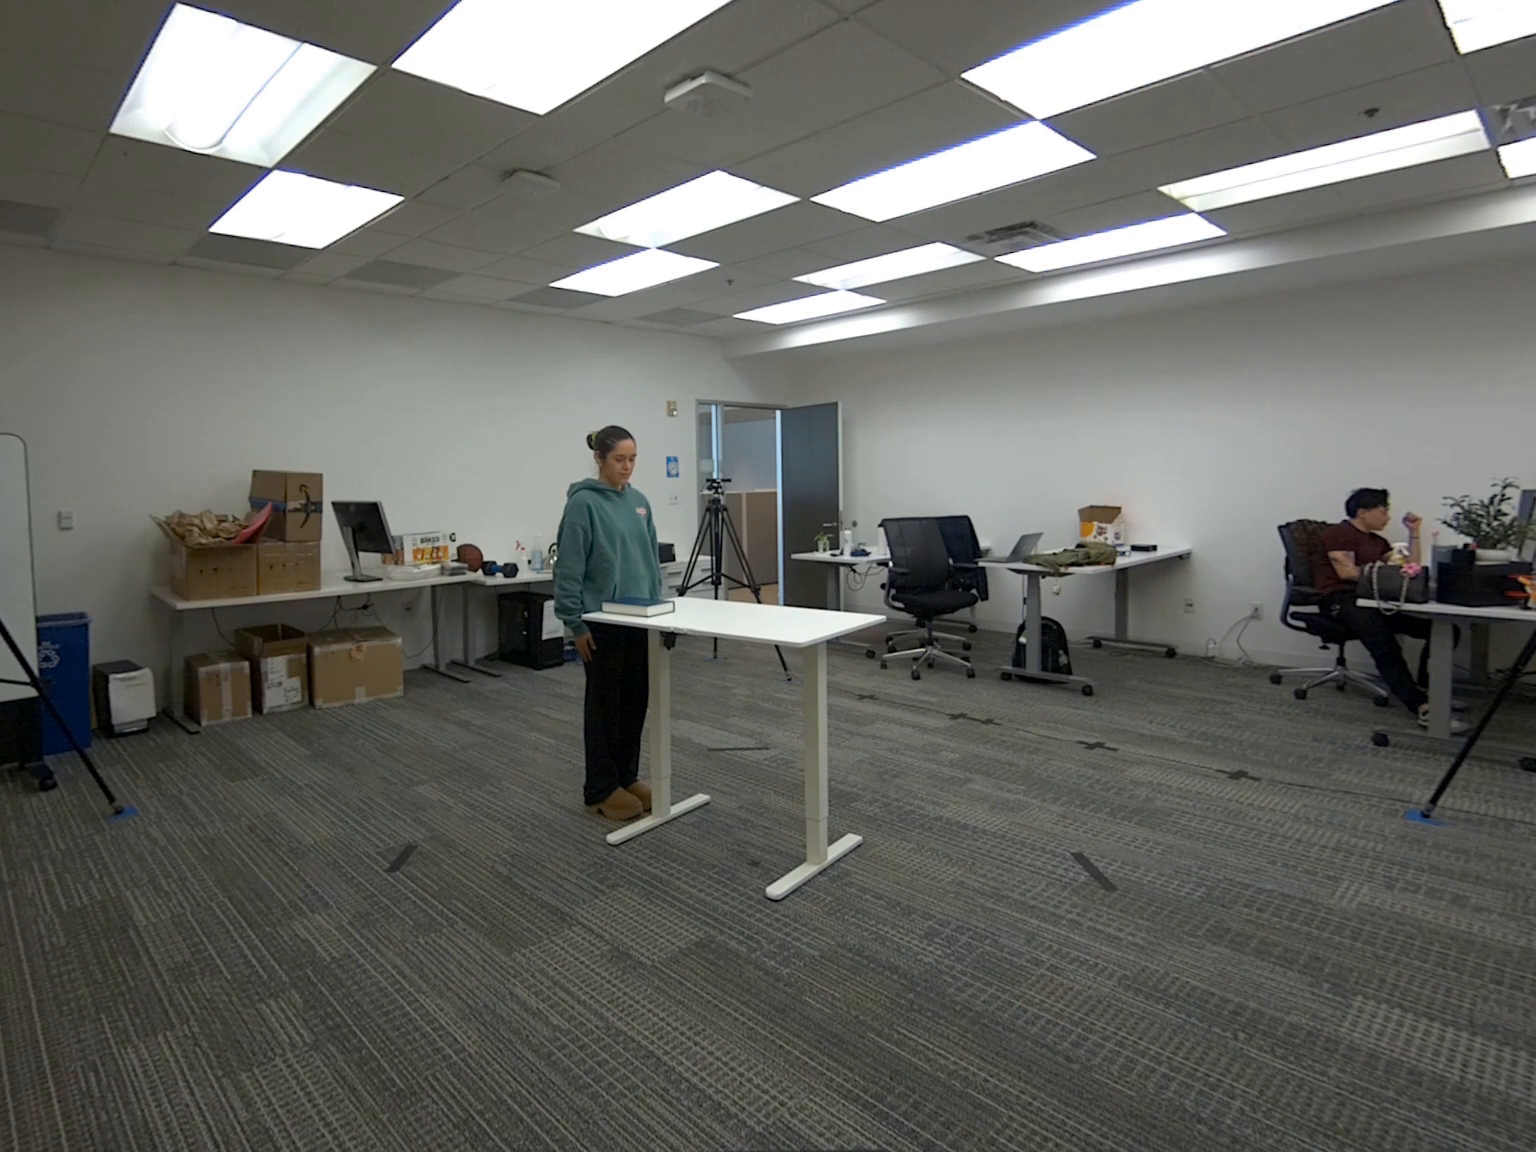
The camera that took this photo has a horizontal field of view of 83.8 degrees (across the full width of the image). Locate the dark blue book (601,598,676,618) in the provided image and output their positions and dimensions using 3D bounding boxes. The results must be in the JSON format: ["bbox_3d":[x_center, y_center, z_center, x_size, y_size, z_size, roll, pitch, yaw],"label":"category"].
[{"bbox_3d":[-0.520,0.124,3.354,0.252,0.045,0.160,3,8,32],"label":"dark blue book"}]
